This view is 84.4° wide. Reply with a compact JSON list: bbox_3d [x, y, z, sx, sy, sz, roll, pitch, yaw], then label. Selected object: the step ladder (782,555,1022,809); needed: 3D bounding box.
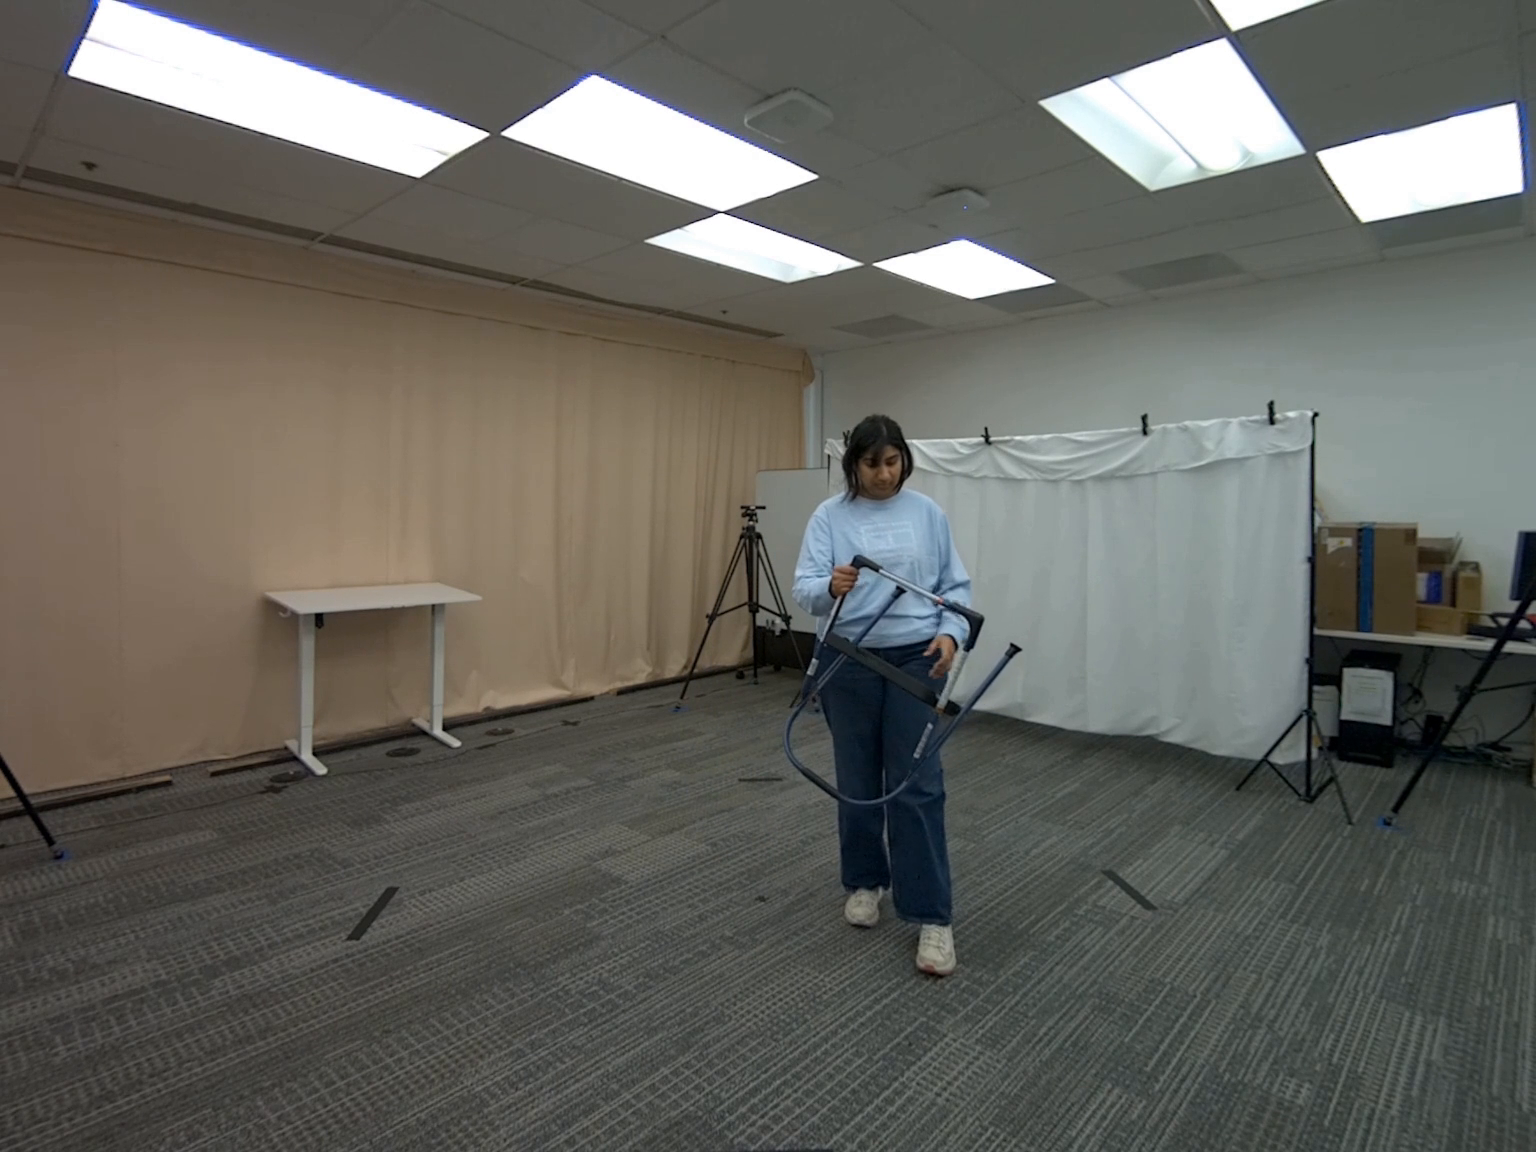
[{"bbox_3d":[0.342,0.329,2.360,0.446,0.606,0.337,29,-2,38],"label":"step ladder"}]
